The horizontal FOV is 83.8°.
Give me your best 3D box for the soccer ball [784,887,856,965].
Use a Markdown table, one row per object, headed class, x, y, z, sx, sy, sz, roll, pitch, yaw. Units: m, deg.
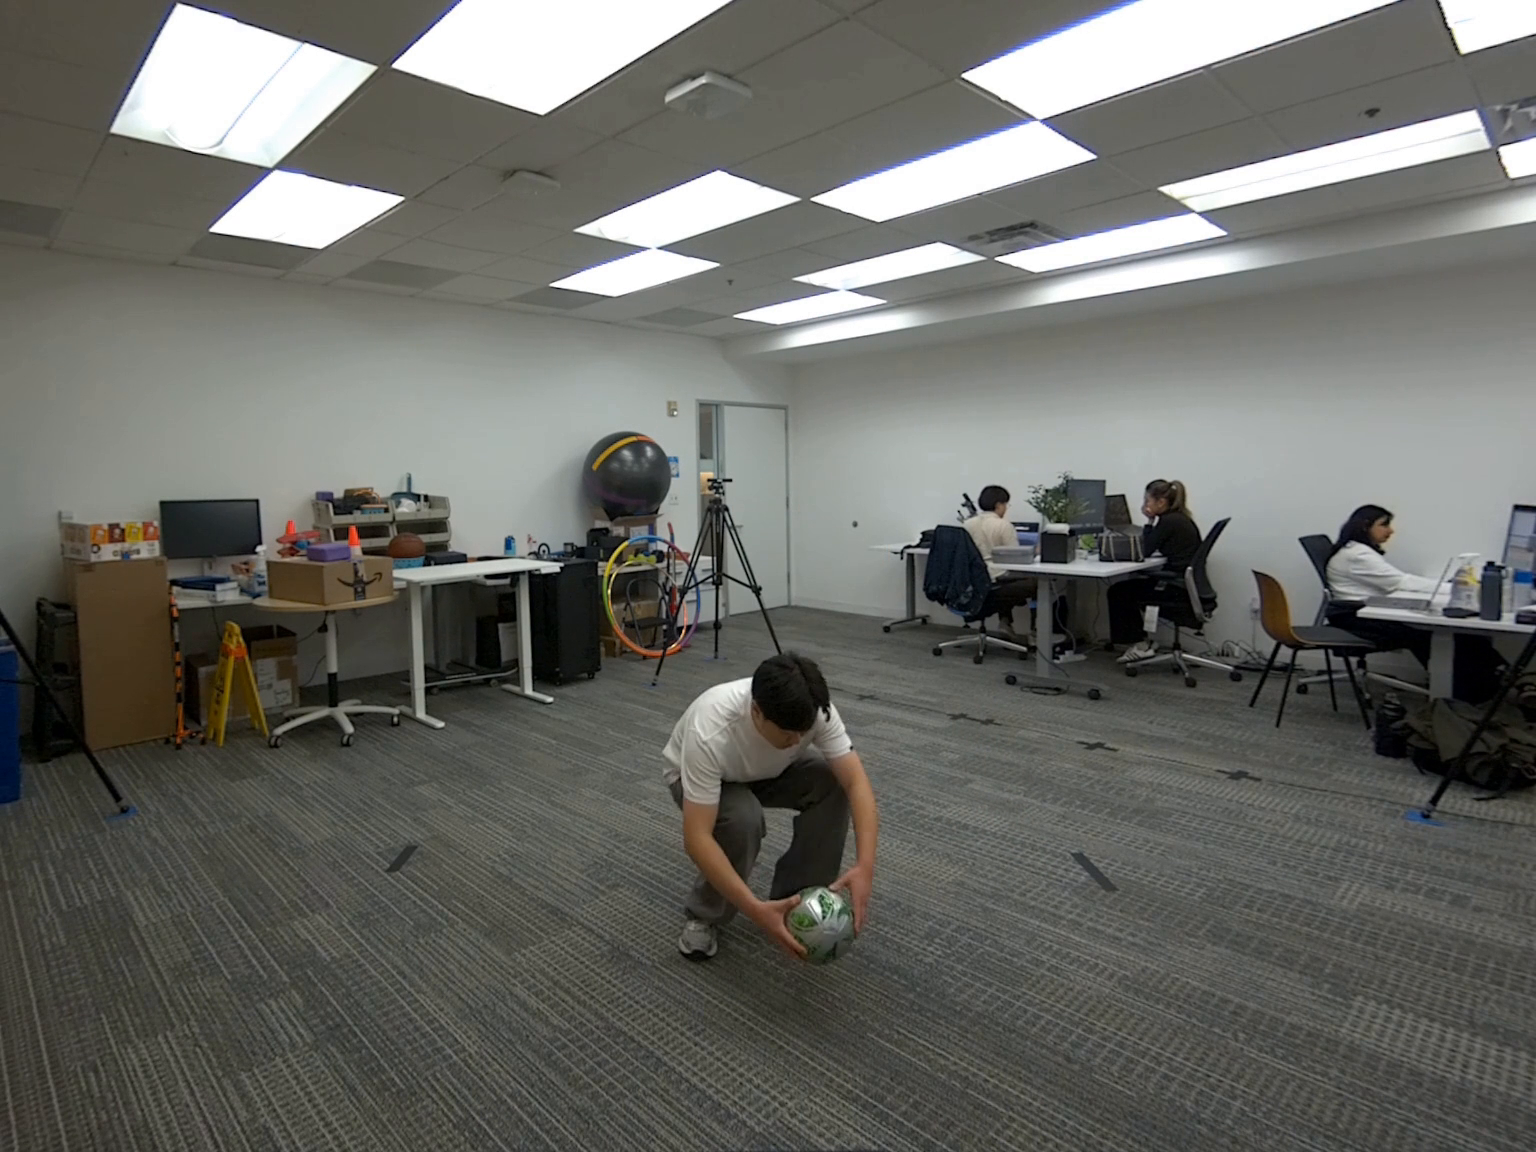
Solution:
| class | x | y | z | sx | sy | sz | roll | pitch | yaw |
| --- | --- | --- | --- | --- | --- | --- | --- | --- | --- |
| soccer ball | 0.129 | 0.891 | 2.248 | 0.187 | 0.187 | 0.188 | -1 | 5 | -2 |
